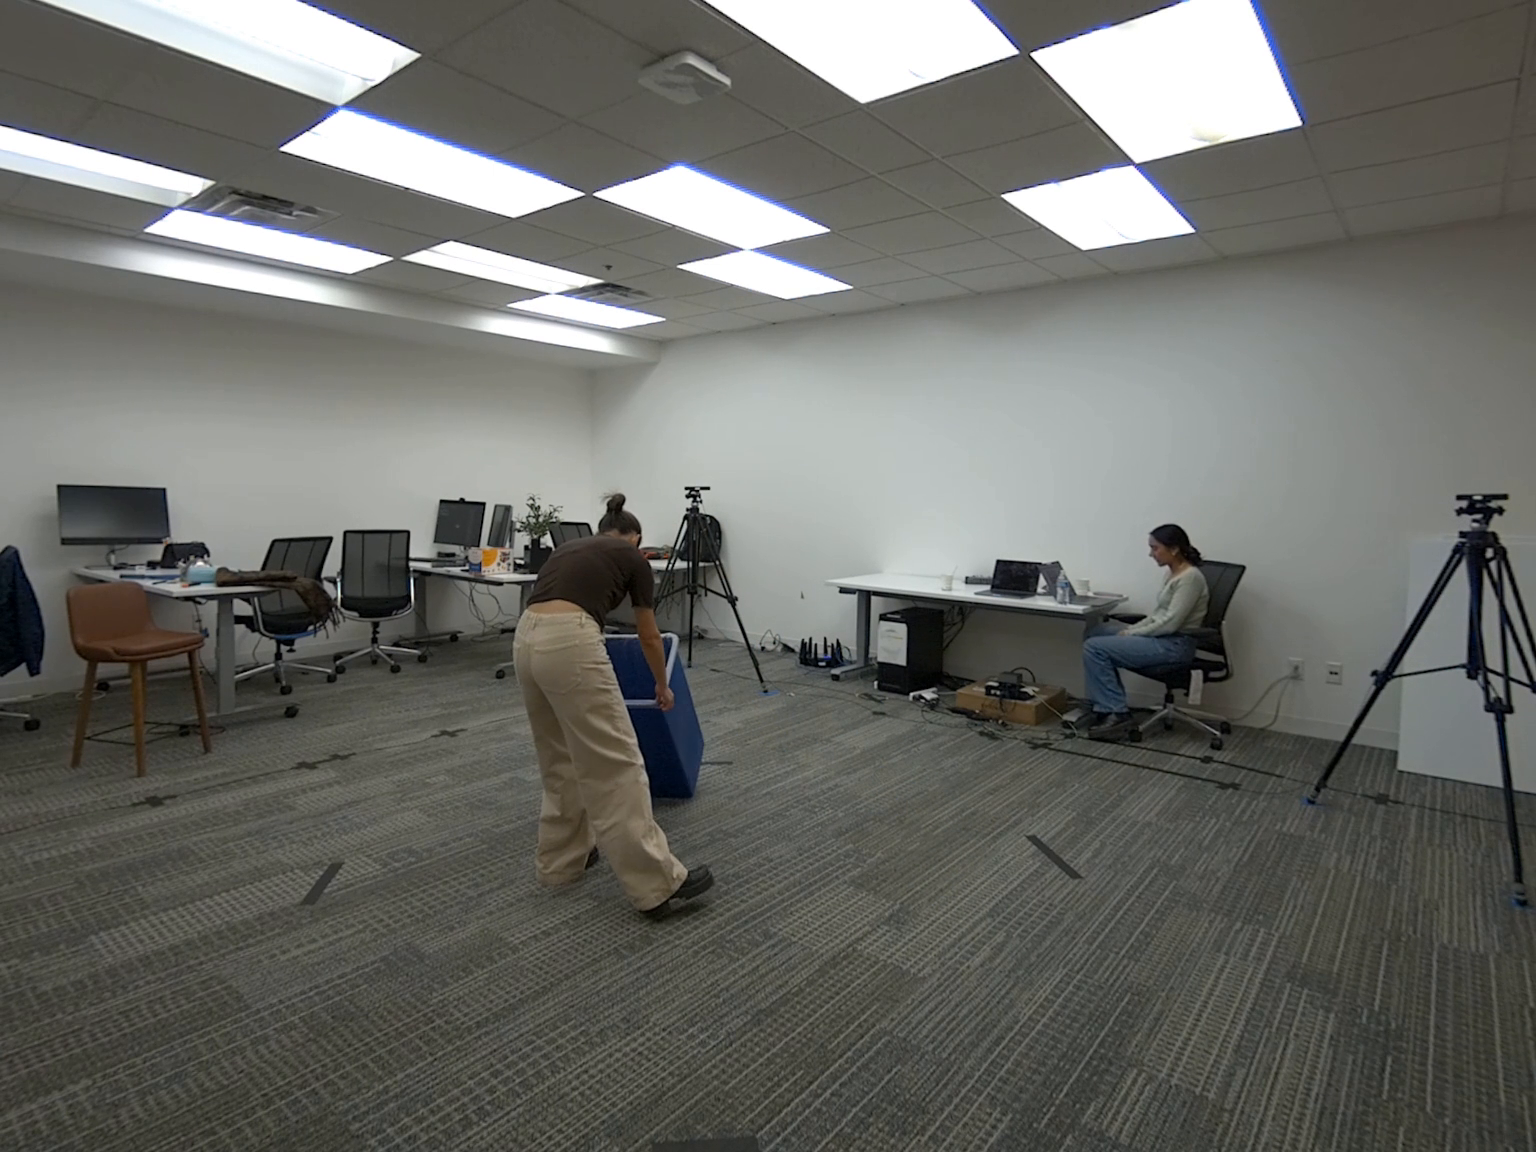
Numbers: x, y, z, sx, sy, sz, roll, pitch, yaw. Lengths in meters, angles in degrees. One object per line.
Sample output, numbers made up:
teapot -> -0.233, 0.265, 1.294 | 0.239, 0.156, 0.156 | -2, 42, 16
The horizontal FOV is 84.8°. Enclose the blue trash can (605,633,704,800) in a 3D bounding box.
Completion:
blue trash can -> -0.511, 0.632, 3.665 | 0.383, 0.689, 0.382 | -2, 40, 13
